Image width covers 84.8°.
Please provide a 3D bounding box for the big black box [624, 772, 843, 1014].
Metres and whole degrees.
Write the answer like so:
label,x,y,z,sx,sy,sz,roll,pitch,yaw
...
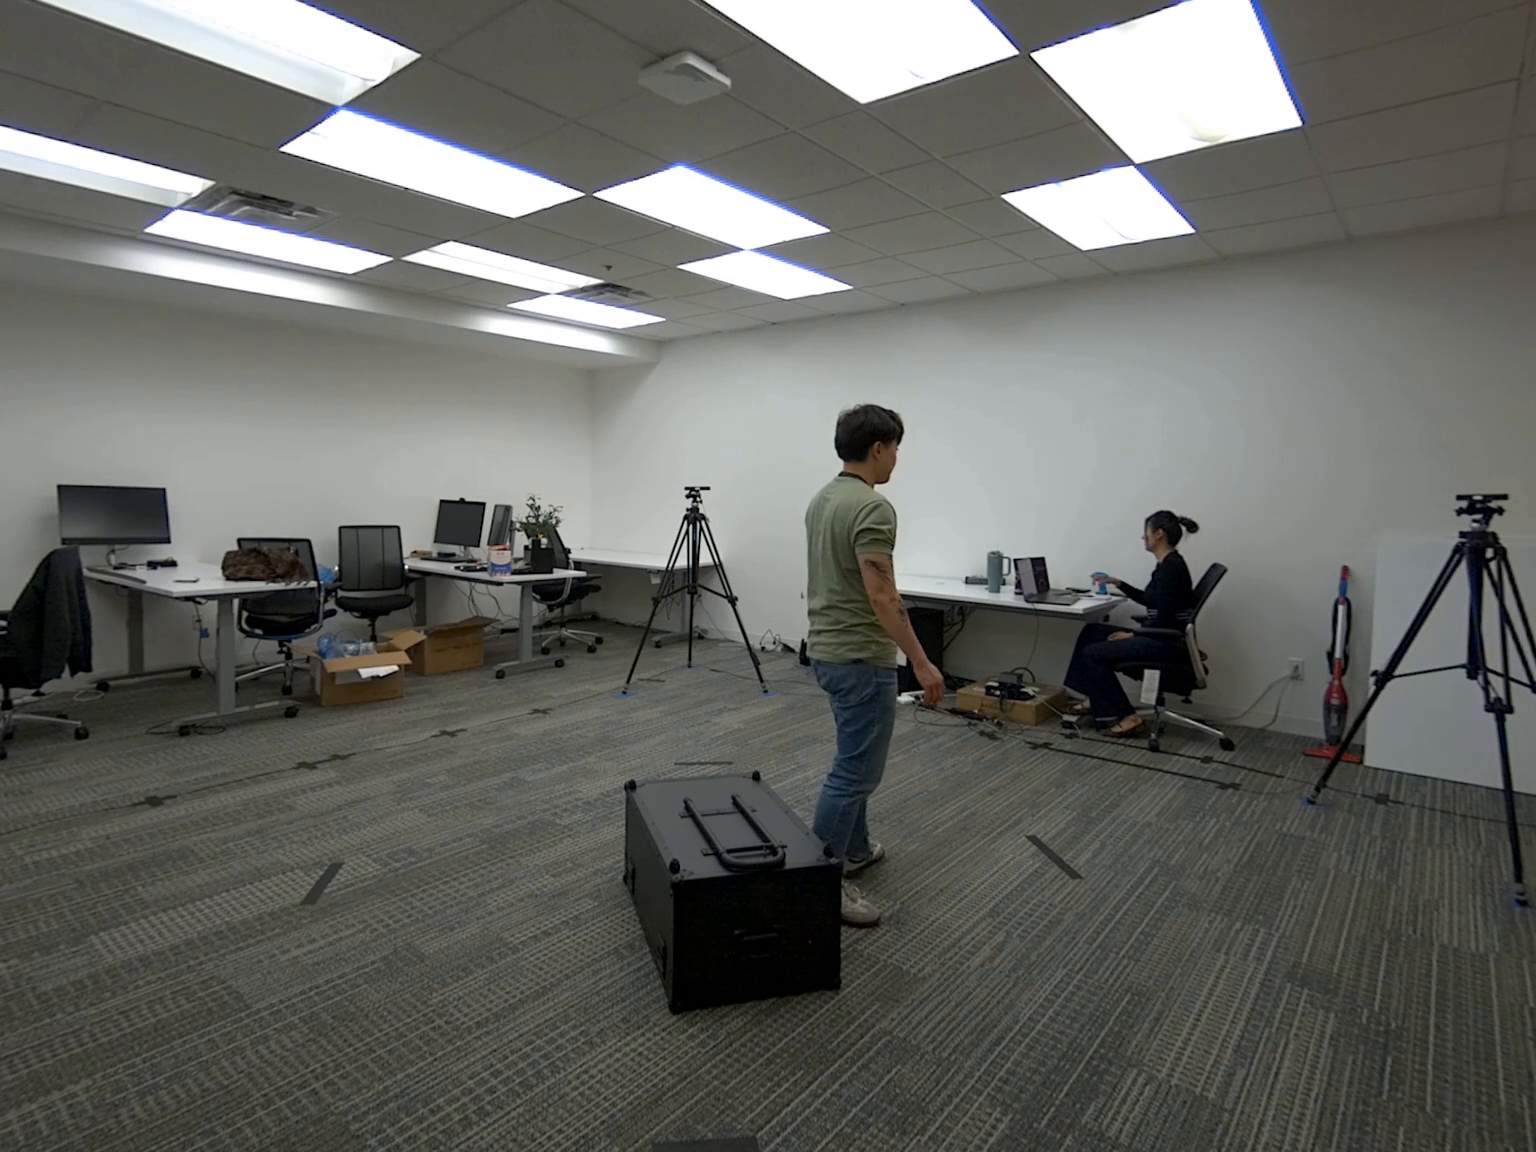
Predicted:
label,x,y,z,sx,sy,sz,roll,pitch,yaw
big black box,-0.170,0.915,2.695,0.512,0.395,0.879,0,4,-19
